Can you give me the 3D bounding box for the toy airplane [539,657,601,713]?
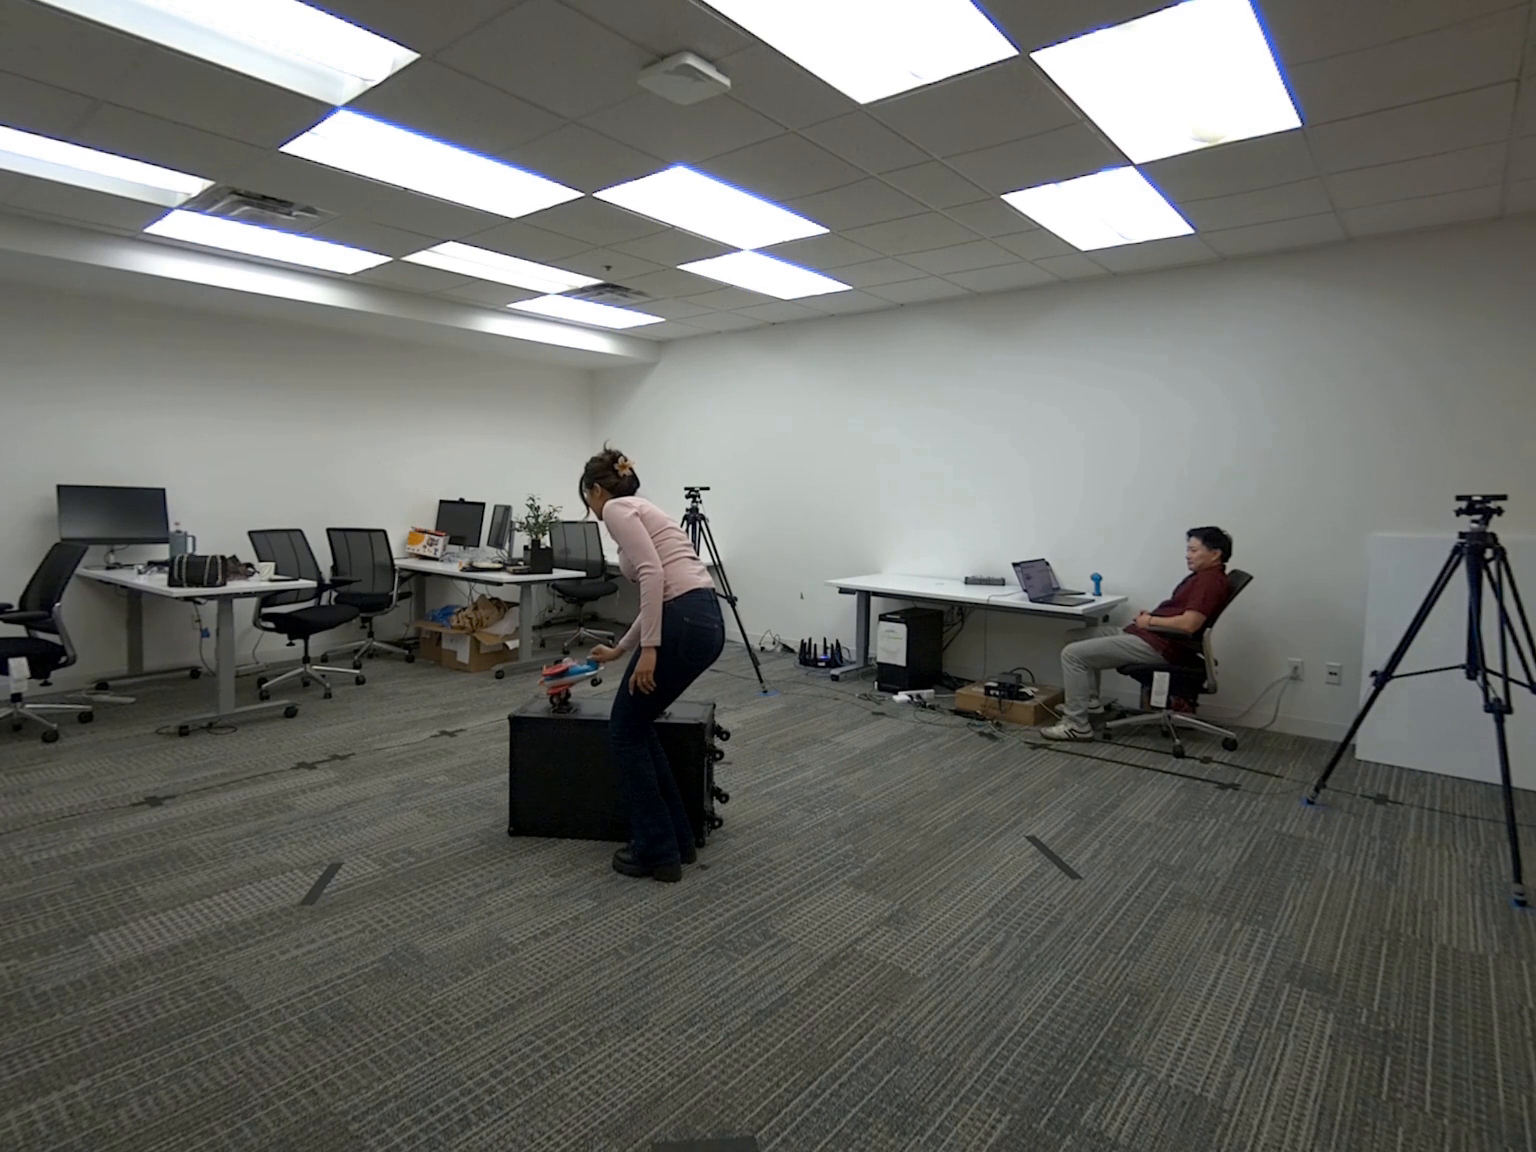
[{"bbox_3d":[-0.829,0.420,3.558,0.257,0.157,0.252,-27,-1,-16],"label":"toy airplane"}]
